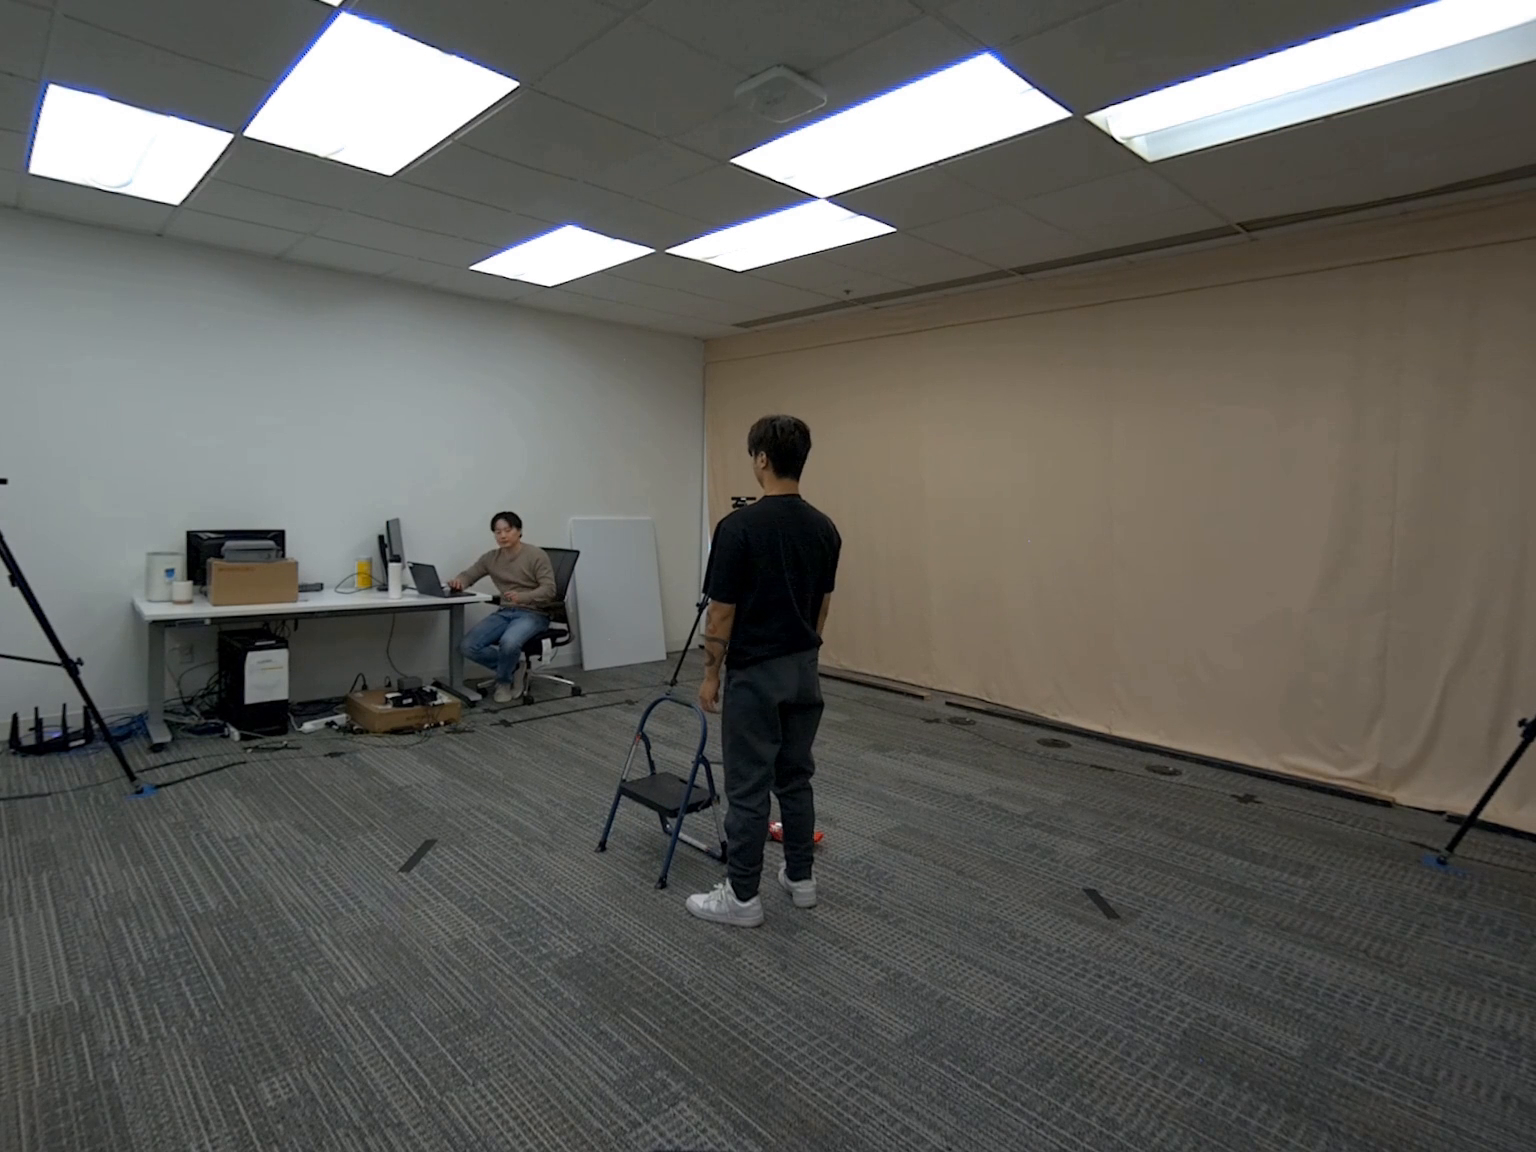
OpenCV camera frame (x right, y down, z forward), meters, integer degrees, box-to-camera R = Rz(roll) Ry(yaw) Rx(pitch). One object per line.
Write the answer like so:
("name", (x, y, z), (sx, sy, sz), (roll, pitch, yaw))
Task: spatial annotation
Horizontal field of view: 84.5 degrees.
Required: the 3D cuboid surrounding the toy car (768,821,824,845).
("toy car", (0.099, 1.058, 3.430), (0.259, 0.083, 0.127), (-9, -4, 33))
